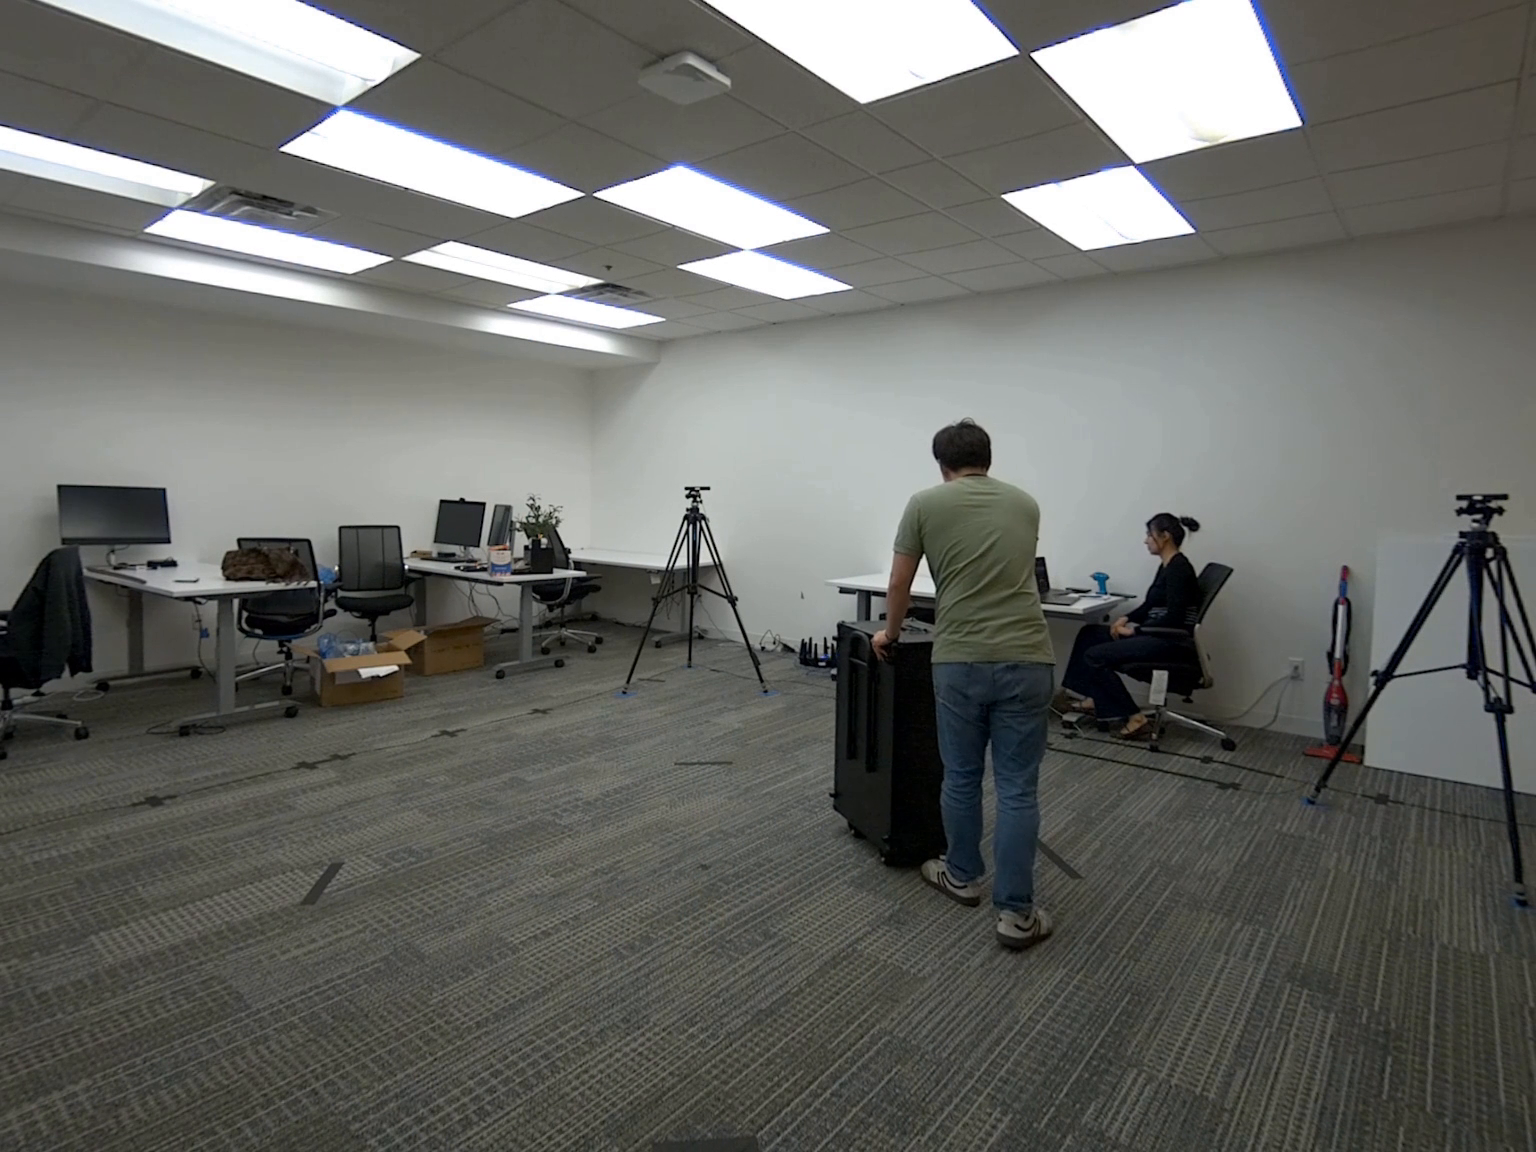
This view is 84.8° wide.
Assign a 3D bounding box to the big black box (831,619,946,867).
[{"bbox_3d":[0.510,0.631,3.323,0.389,0.859,0.533,-1,4,-20],"label":"big black box"}]
